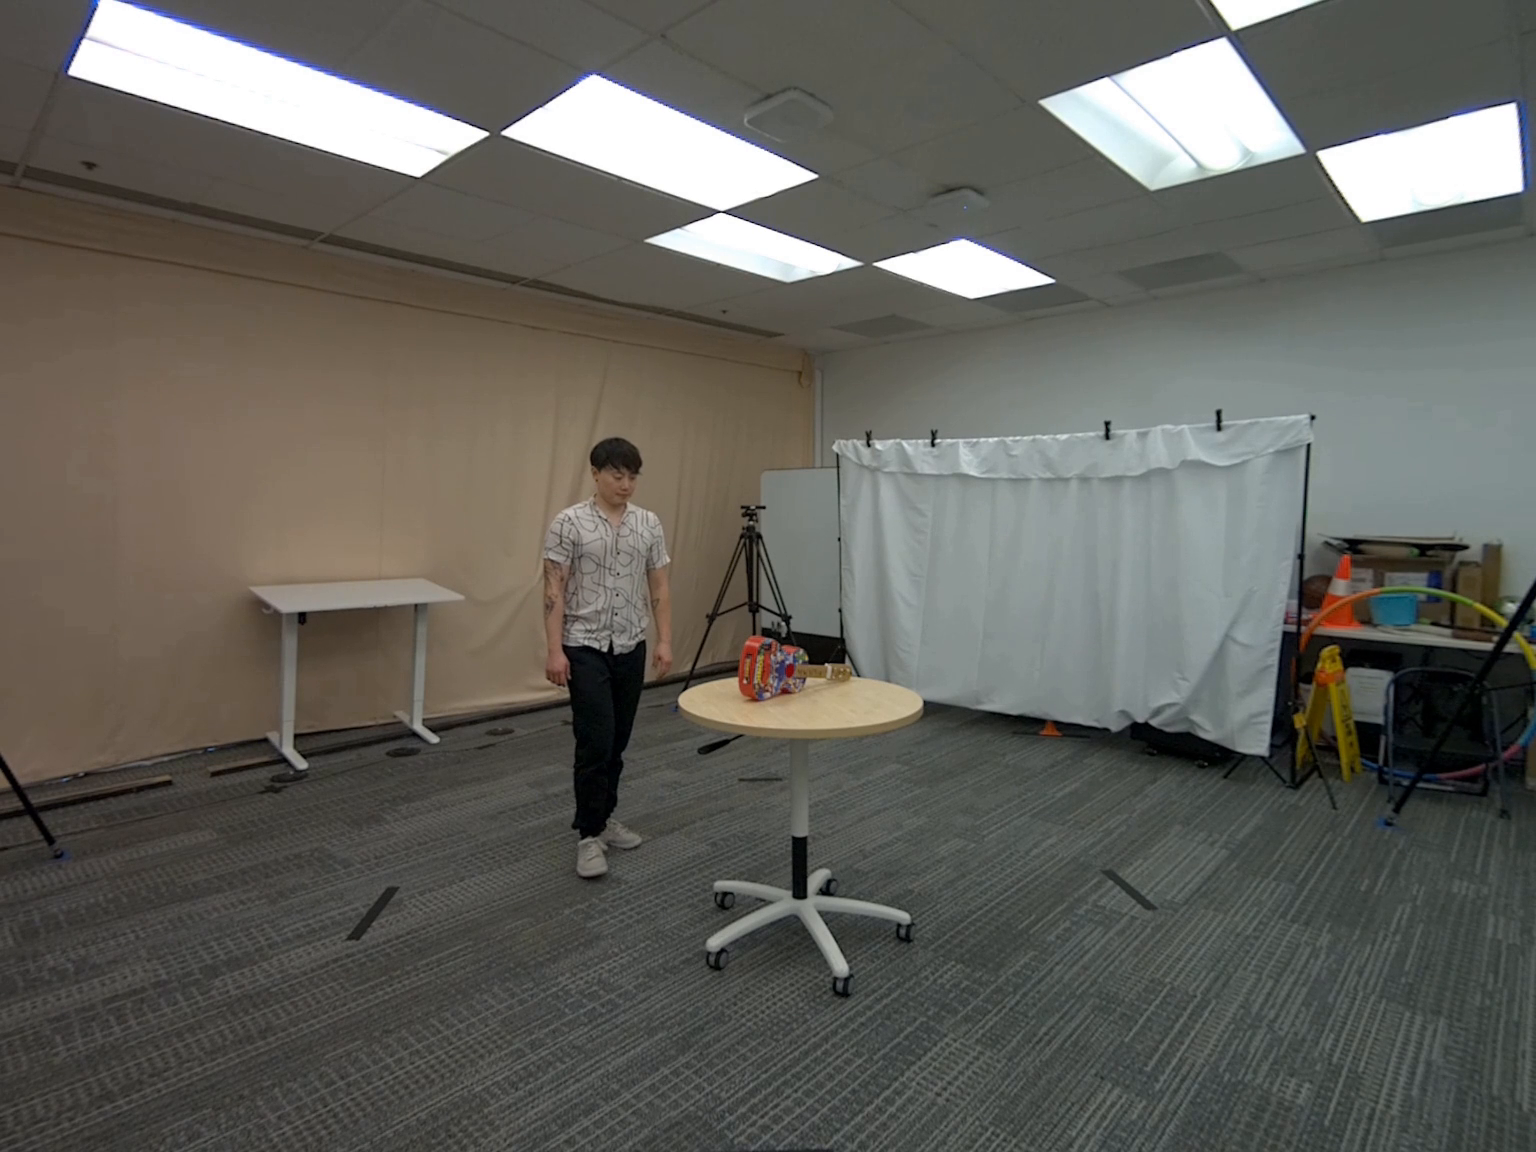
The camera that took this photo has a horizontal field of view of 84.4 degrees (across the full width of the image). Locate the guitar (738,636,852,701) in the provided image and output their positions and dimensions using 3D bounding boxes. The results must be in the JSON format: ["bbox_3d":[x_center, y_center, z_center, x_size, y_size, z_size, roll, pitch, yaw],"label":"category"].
[{"bbox_3d":[0.096,0.338,2.764,0.073,0.194,0.480,3,-14,45],"label":"guitar"}]
